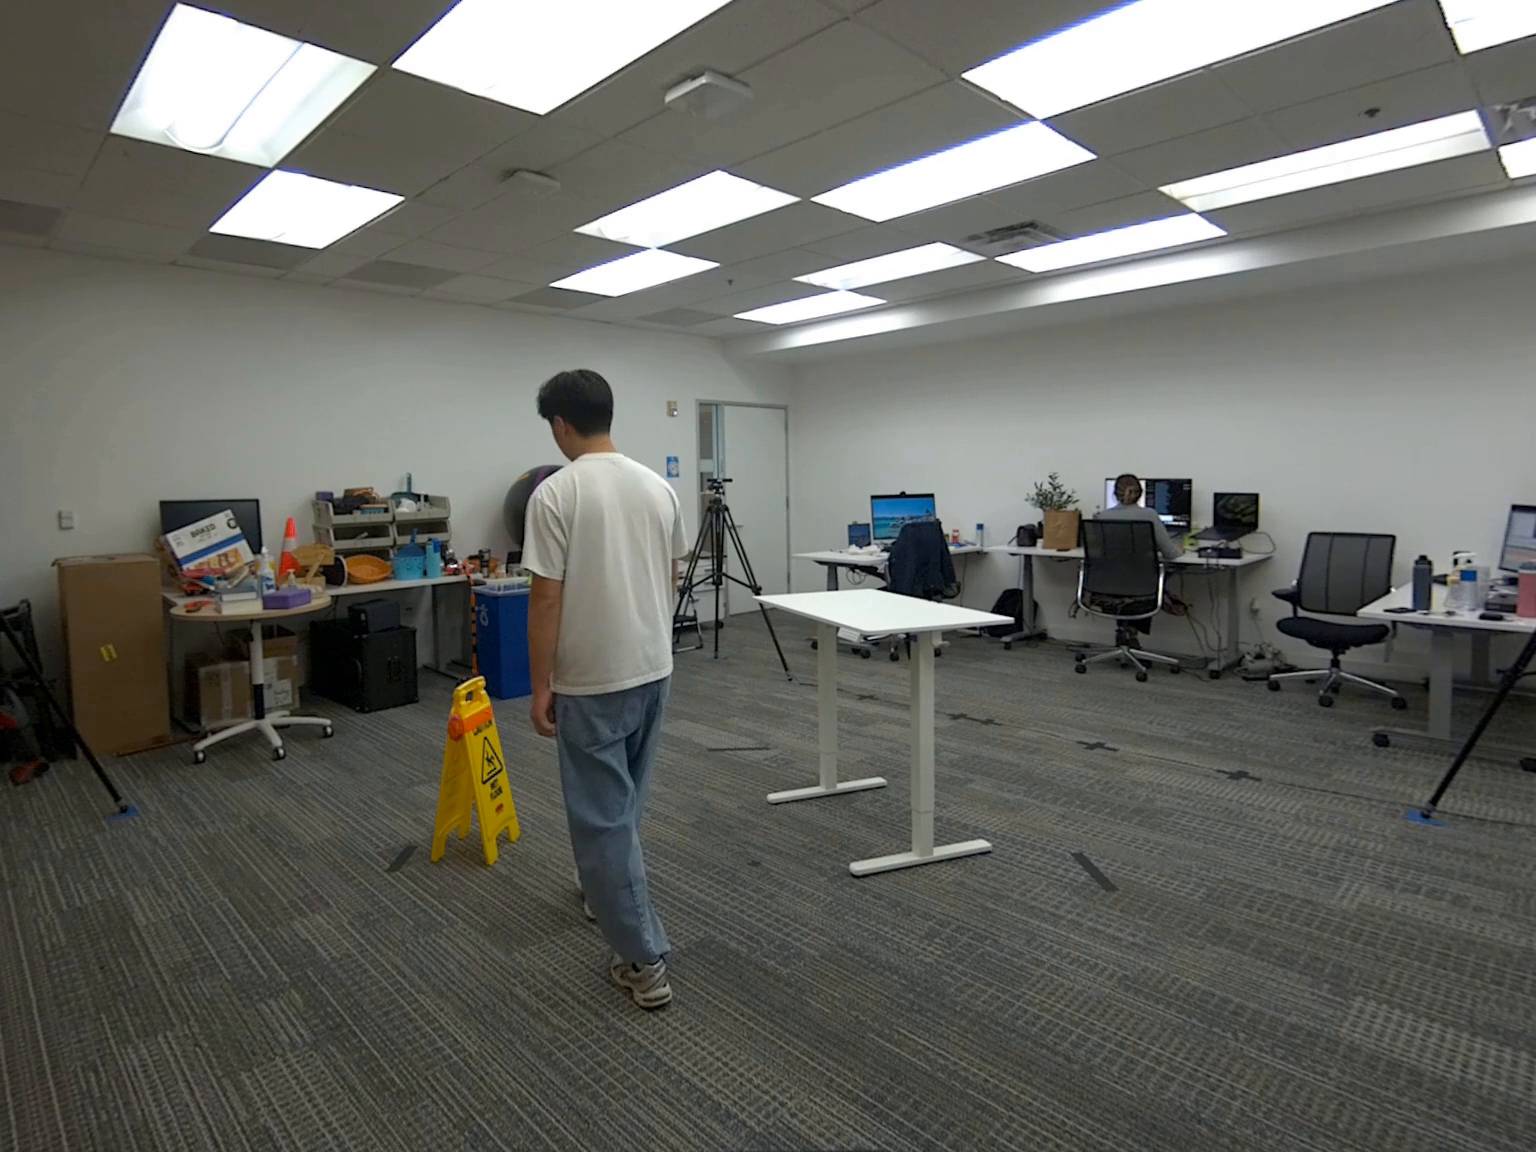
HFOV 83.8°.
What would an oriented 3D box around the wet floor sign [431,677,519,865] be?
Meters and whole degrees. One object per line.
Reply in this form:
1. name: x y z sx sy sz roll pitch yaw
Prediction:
1. wet floor sign: -1.127 0.721 3.262 0.292 0.644 0.281 0 3 8
